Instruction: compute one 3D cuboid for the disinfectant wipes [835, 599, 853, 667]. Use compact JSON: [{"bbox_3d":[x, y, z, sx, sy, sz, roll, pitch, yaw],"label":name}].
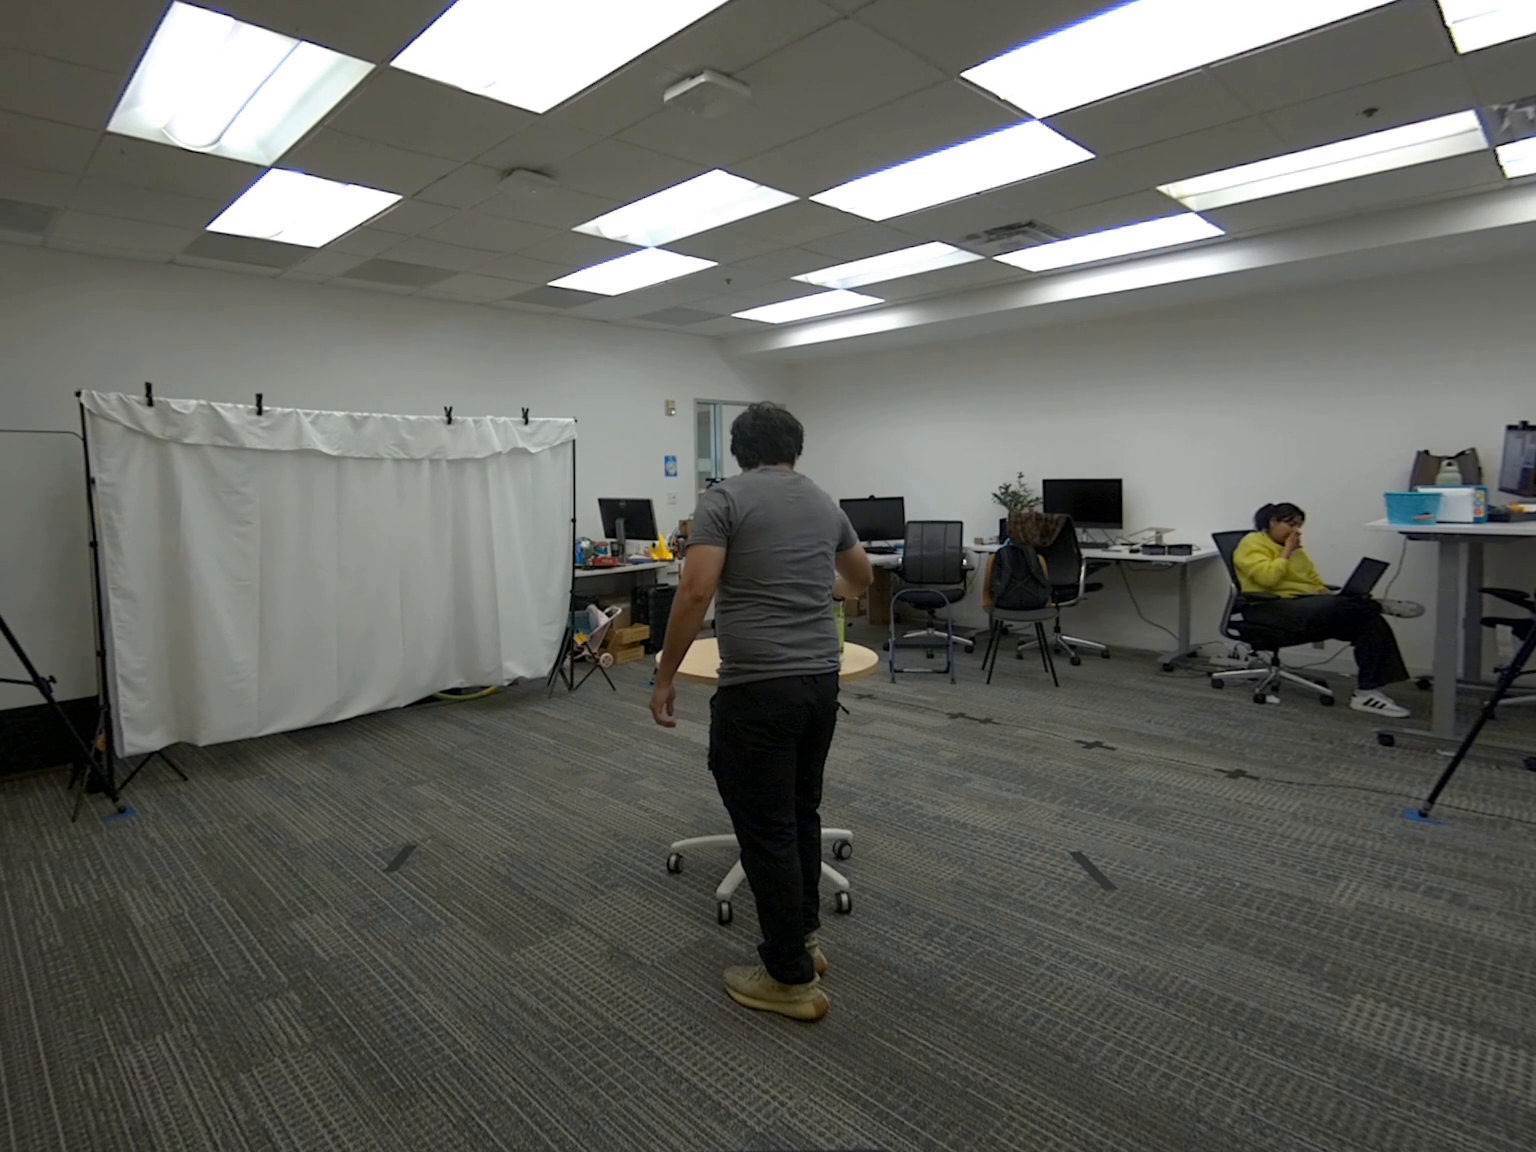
[{"bbox_3d":[0.210,0.179,2.862,0.118,0.216,0.118,1,5,-2],"label":"disinfectant wipes"}]
